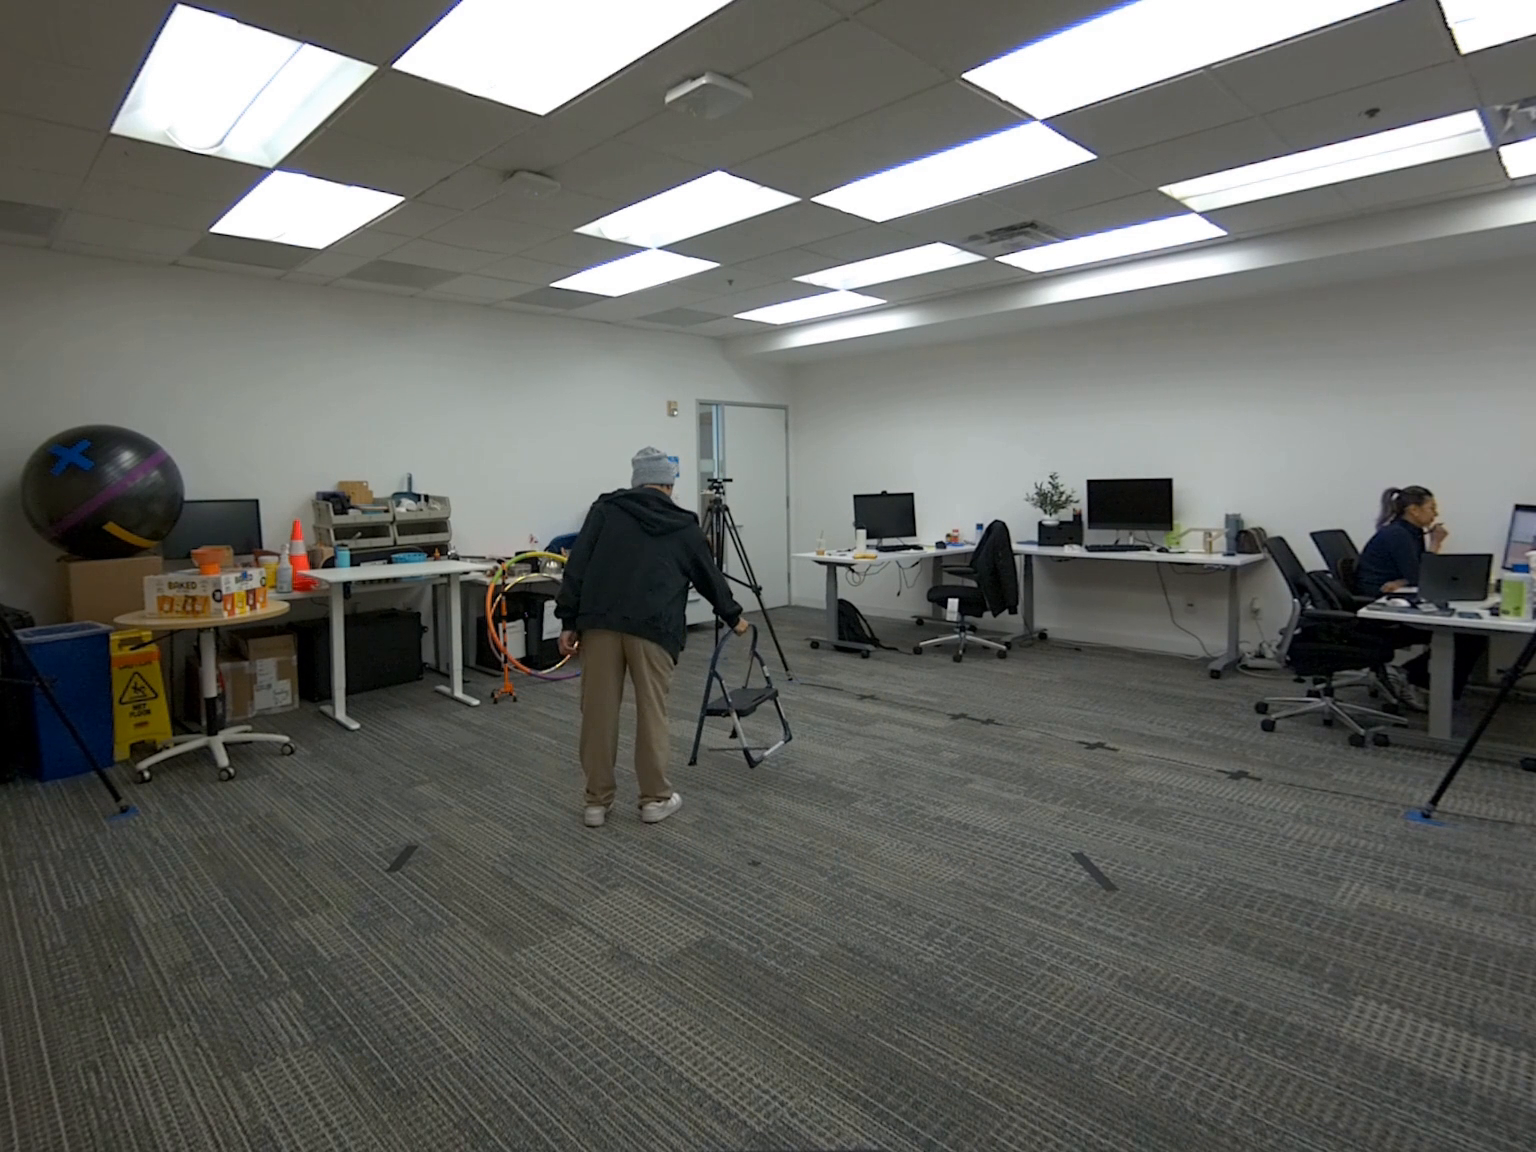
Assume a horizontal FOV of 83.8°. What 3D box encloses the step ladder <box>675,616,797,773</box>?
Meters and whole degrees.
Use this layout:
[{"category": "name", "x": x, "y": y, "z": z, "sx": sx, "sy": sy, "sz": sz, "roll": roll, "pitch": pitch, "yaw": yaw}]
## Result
[{"category": "step ladder", "x": -0.154, "y": 0.537, "z": 4.022, "sx": 0.357, "sy": 0.603, "sz": 0.423, "roll": -6, "pitch": 6, "yaw": 28}]
